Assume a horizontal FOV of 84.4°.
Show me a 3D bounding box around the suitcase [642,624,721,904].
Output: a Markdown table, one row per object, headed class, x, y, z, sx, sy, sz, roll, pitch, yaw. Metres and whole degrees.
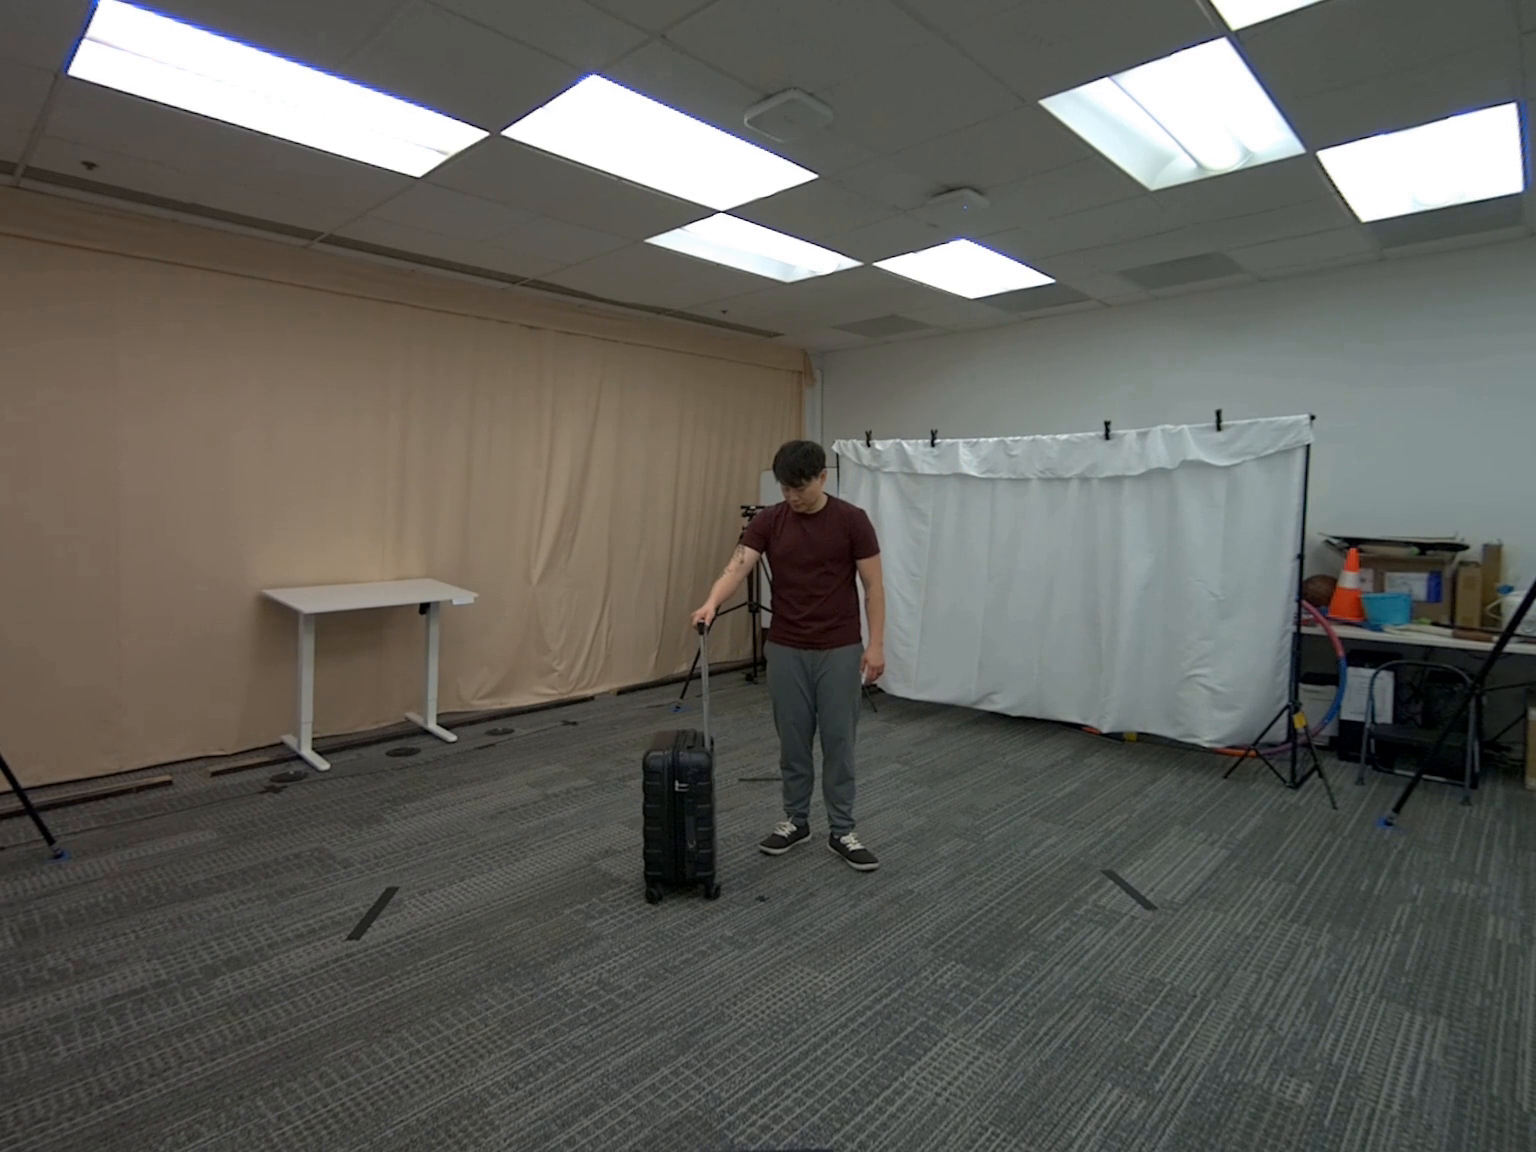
| class | x | y | z | sx | sy | sz | roll | pitch | yaw |
| --- | --- | --- | --- | --- | --- | --- | --- | --- | --- |
| suitcase | -0.329 | 0.660 | 3.093 | 0.257 | 0.977 | 0.385 | -2 | 3 | -1 |
